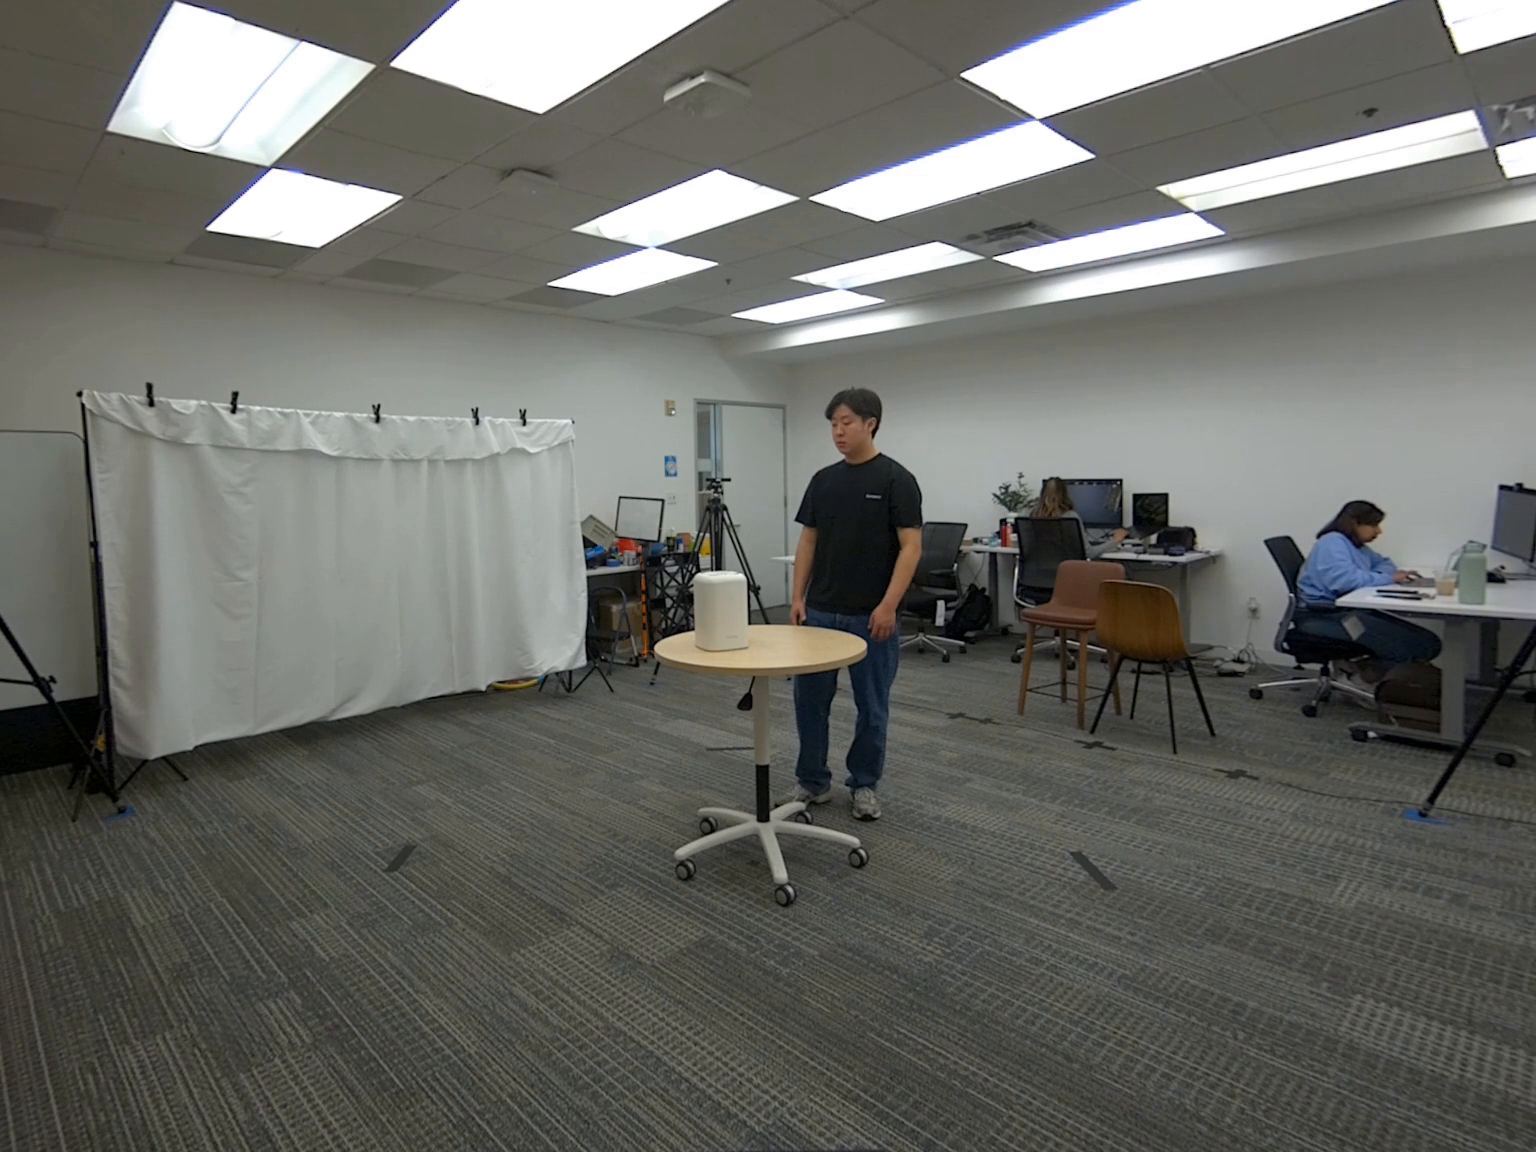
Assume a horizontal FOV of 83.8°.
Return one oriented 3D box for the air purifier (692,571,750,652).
[{"bbox_3d":[-0.162,0.119,3.060,0.167,0.265,0.175,-3,3,-25],"label":"air purifier"}]
